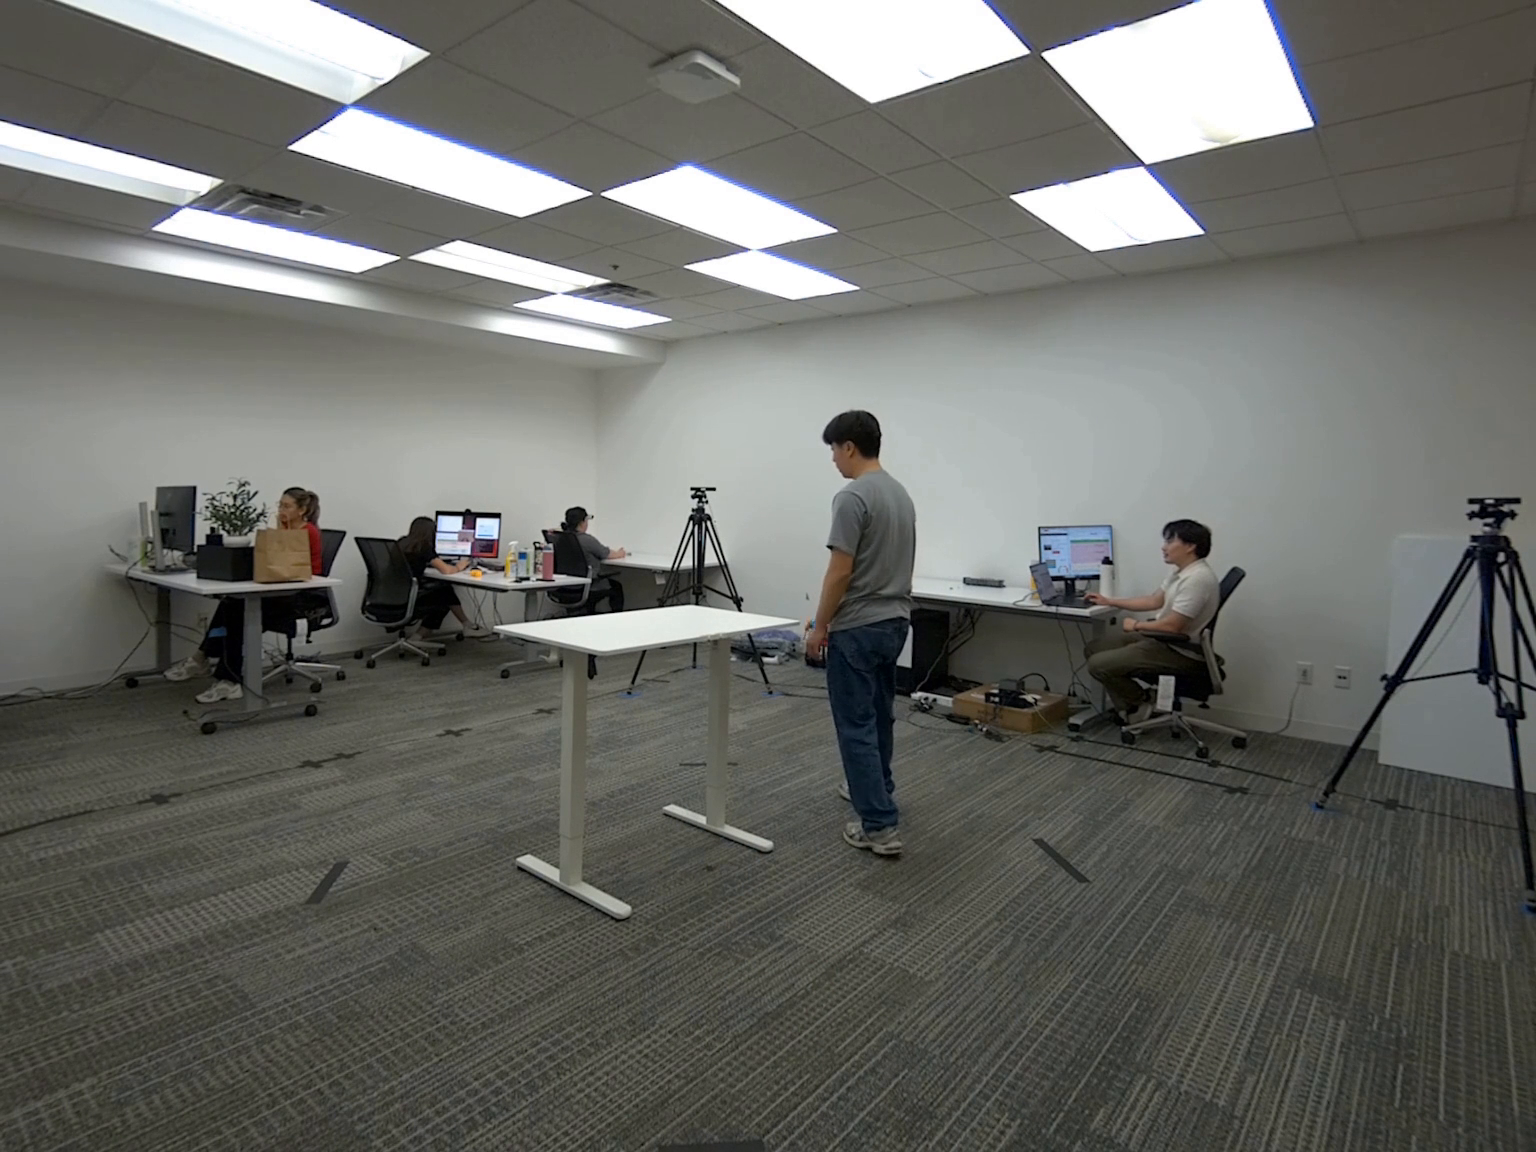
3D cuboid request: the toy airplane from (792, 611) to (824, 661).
[{"bbox_3d":[0.282,0.256,3.785,0.253,0.155,0.259,-5,10,-25],"label":"toy airplane"}]
